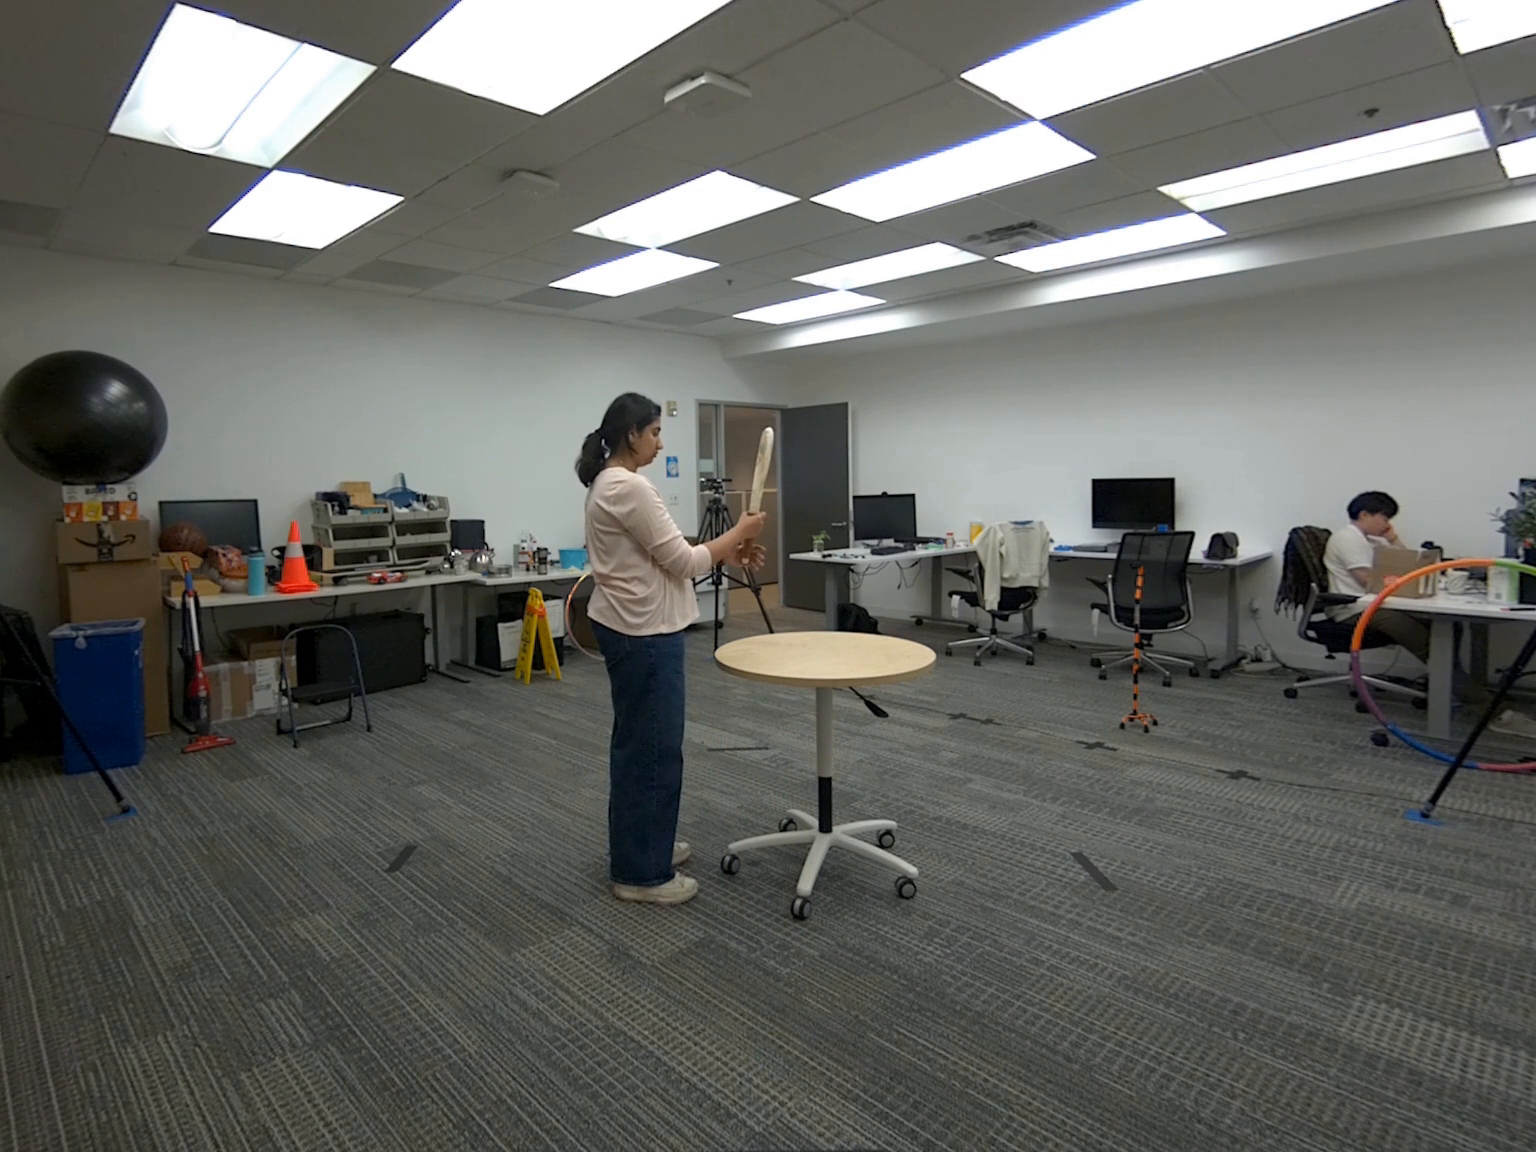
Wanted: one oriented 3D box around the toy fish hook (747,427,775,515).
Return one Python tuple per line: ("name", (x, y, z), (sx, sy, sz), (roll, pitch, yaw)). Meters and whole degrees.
("toy fish hook", (-0.035, -0.258, 2.950), (0.048, 0.501, 0.227), (10, 14, -2))
